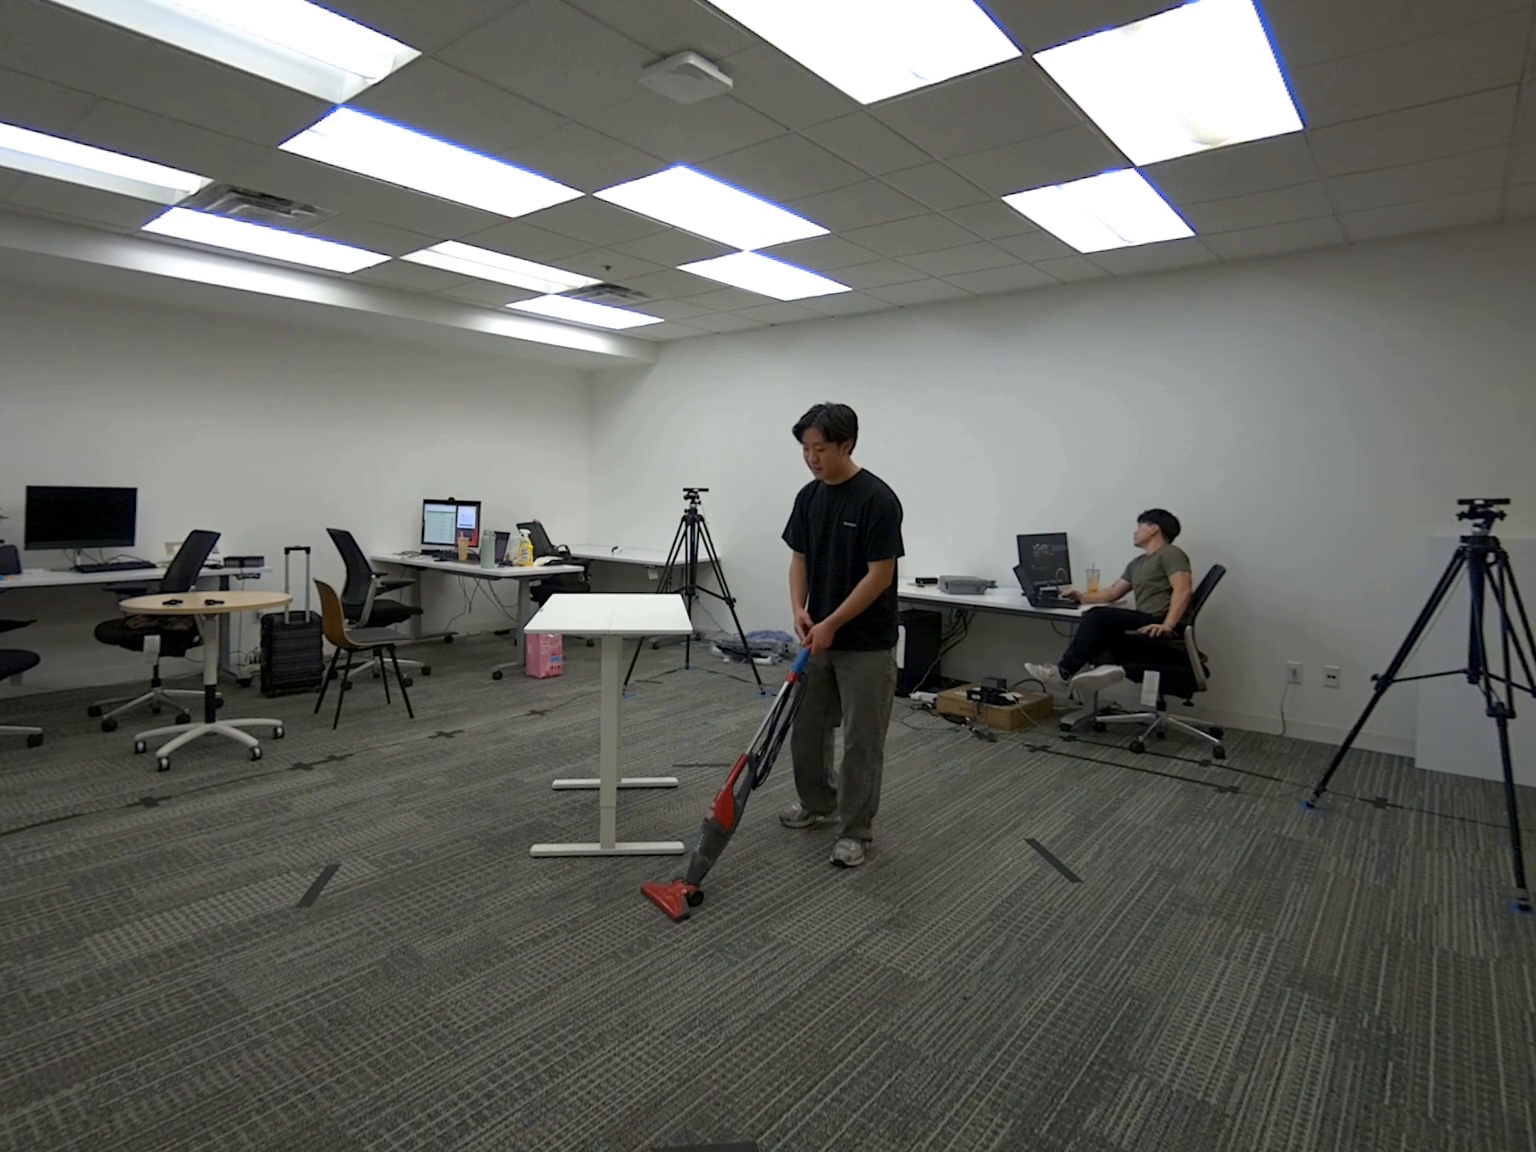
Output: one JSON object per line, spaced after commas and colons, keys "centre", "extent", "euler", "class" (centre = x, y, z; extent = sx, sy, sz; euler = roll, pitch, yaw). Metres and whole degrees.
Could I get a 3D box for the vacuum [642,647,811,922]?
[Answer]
{"centre": [-0.069, 0.661, 3.001], "extent": [0.262, 1.054, 0.138], "euler": [12, -25, 47], "class": "vacuum"}
